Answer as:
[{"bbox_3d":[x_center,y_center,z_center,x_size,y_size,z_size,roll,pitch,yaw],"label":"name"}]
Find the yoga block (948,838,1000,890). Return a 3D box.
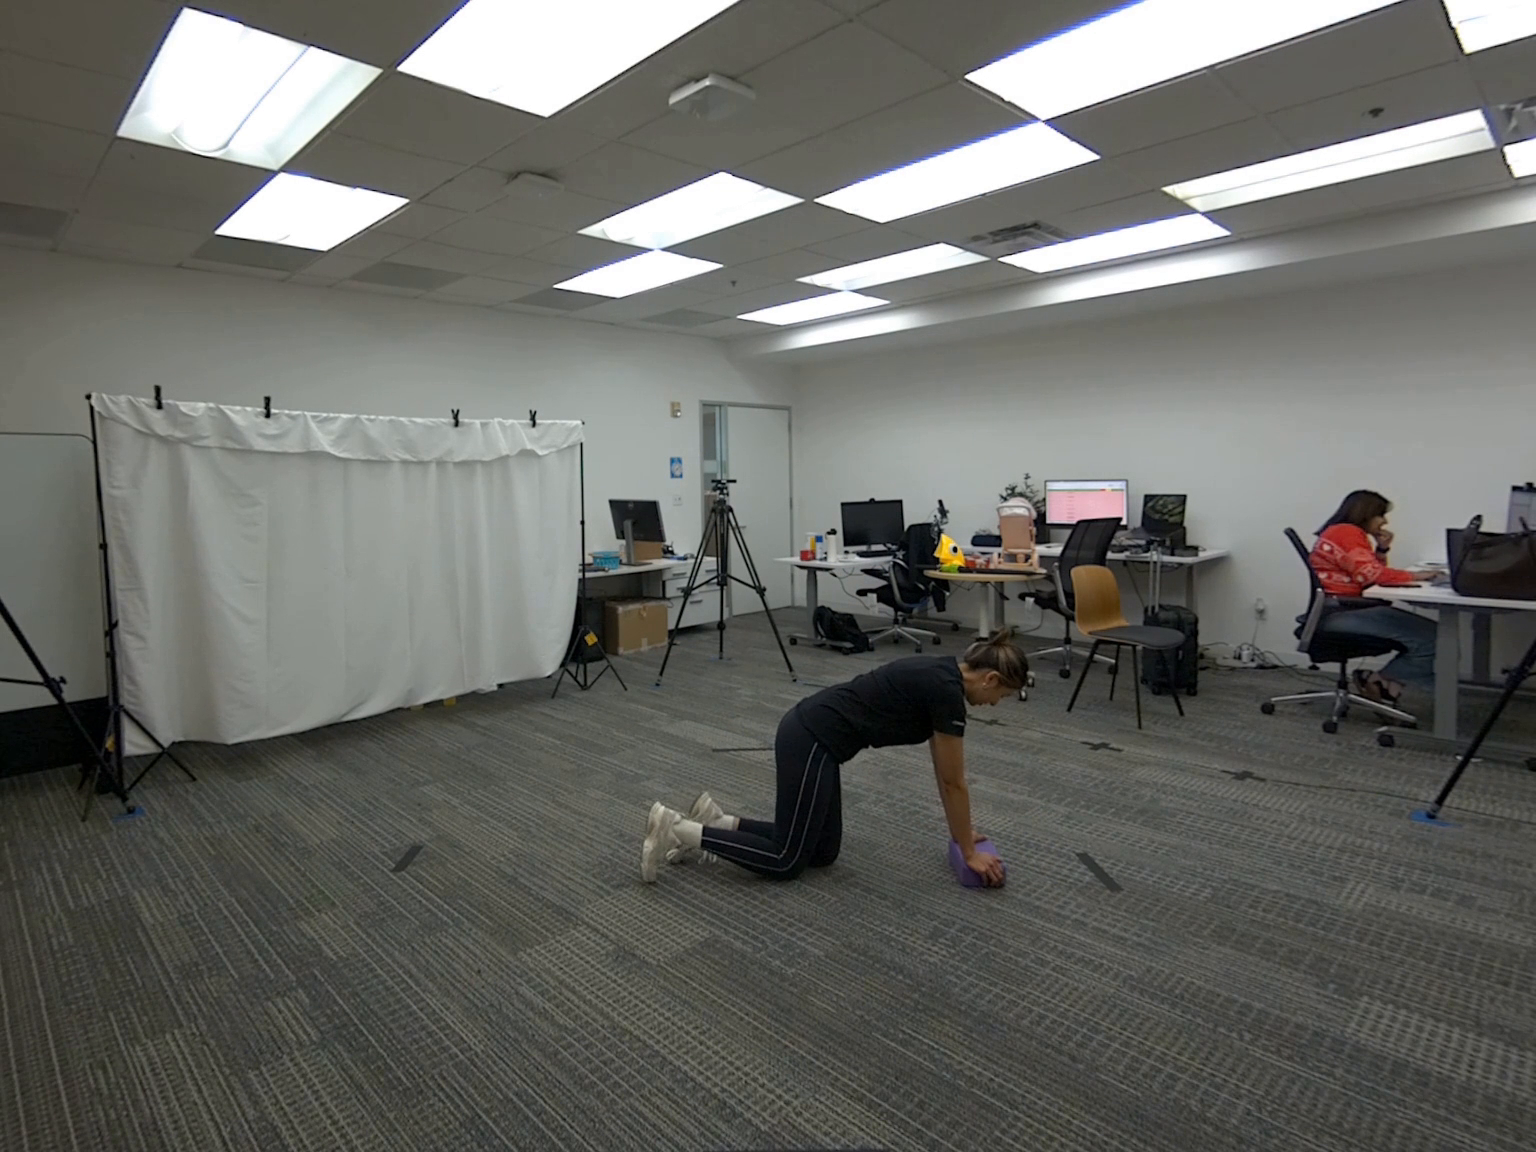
[{"bbox_3d":[0.729,1.001,3.000,0.149,0.076,0.230,-1,7,0],"label":"yoga block"}]
